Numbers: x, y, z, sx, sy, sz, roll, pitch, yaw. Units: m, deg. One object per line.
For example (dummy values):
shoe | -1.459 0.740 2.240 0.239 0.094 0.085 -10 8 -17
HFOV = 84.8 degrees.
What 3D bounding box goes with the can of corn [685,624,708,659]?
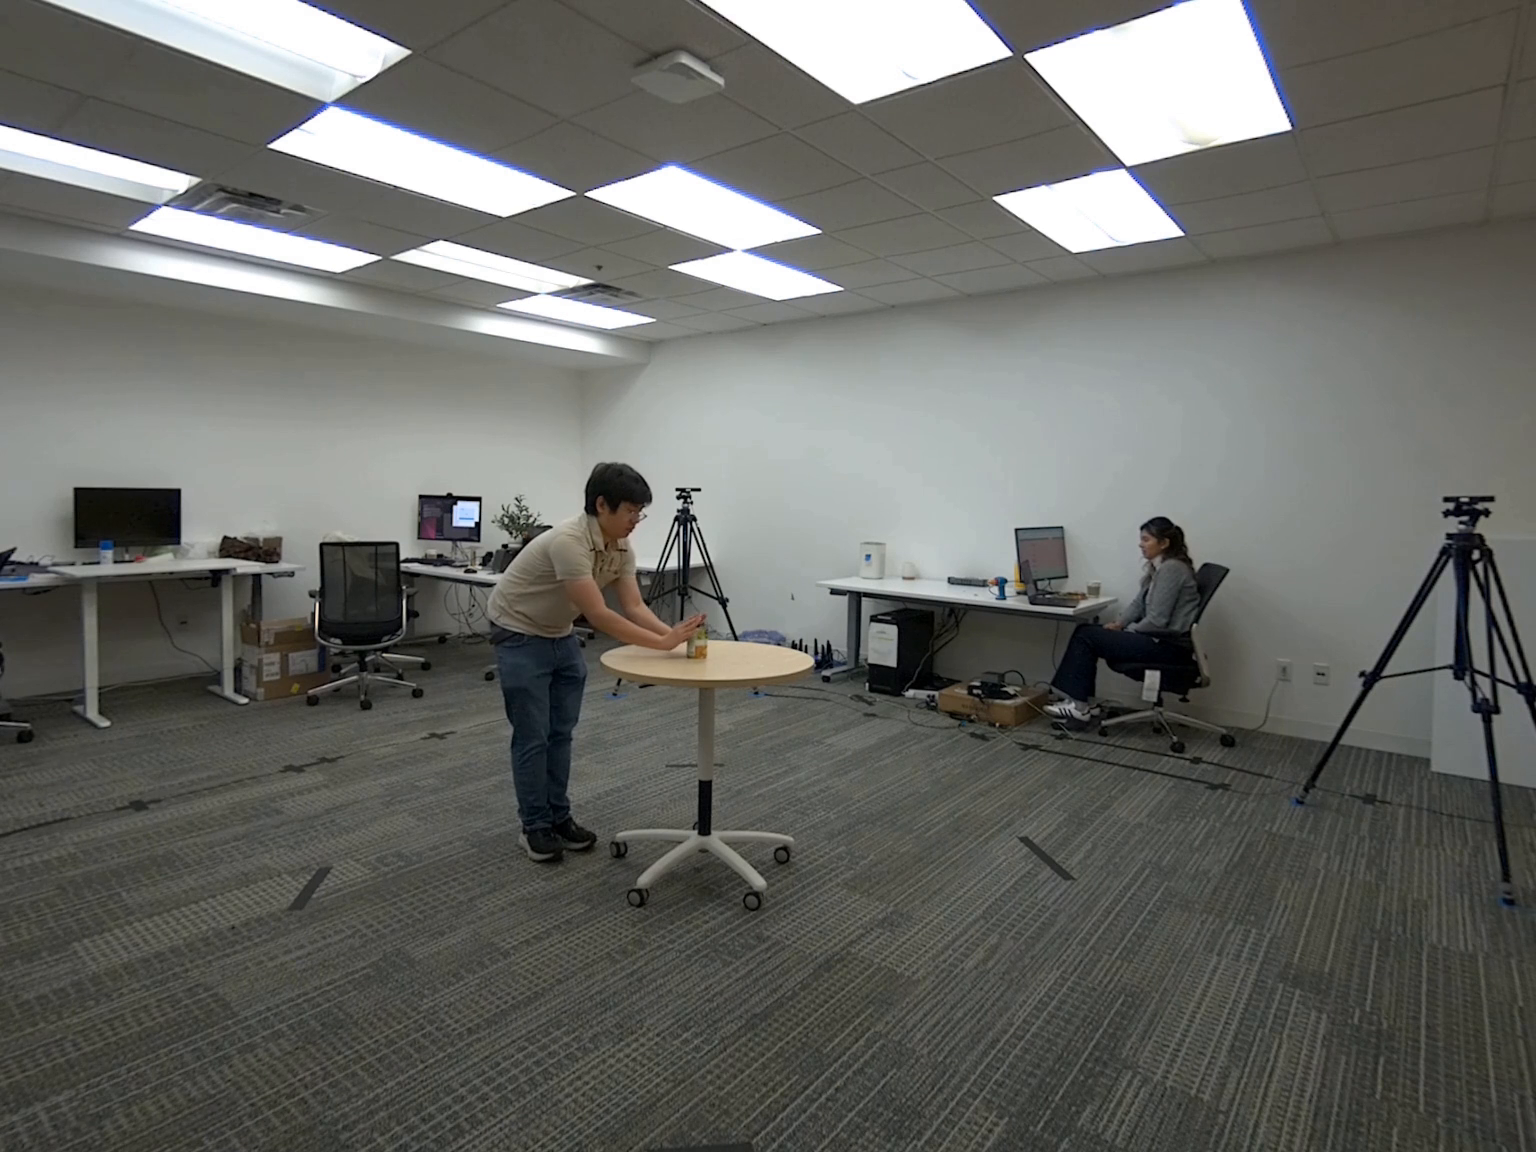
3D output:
can of corn | -0.254 0.238 3.051 0.074 0.111 0.074 -1 1 -2
